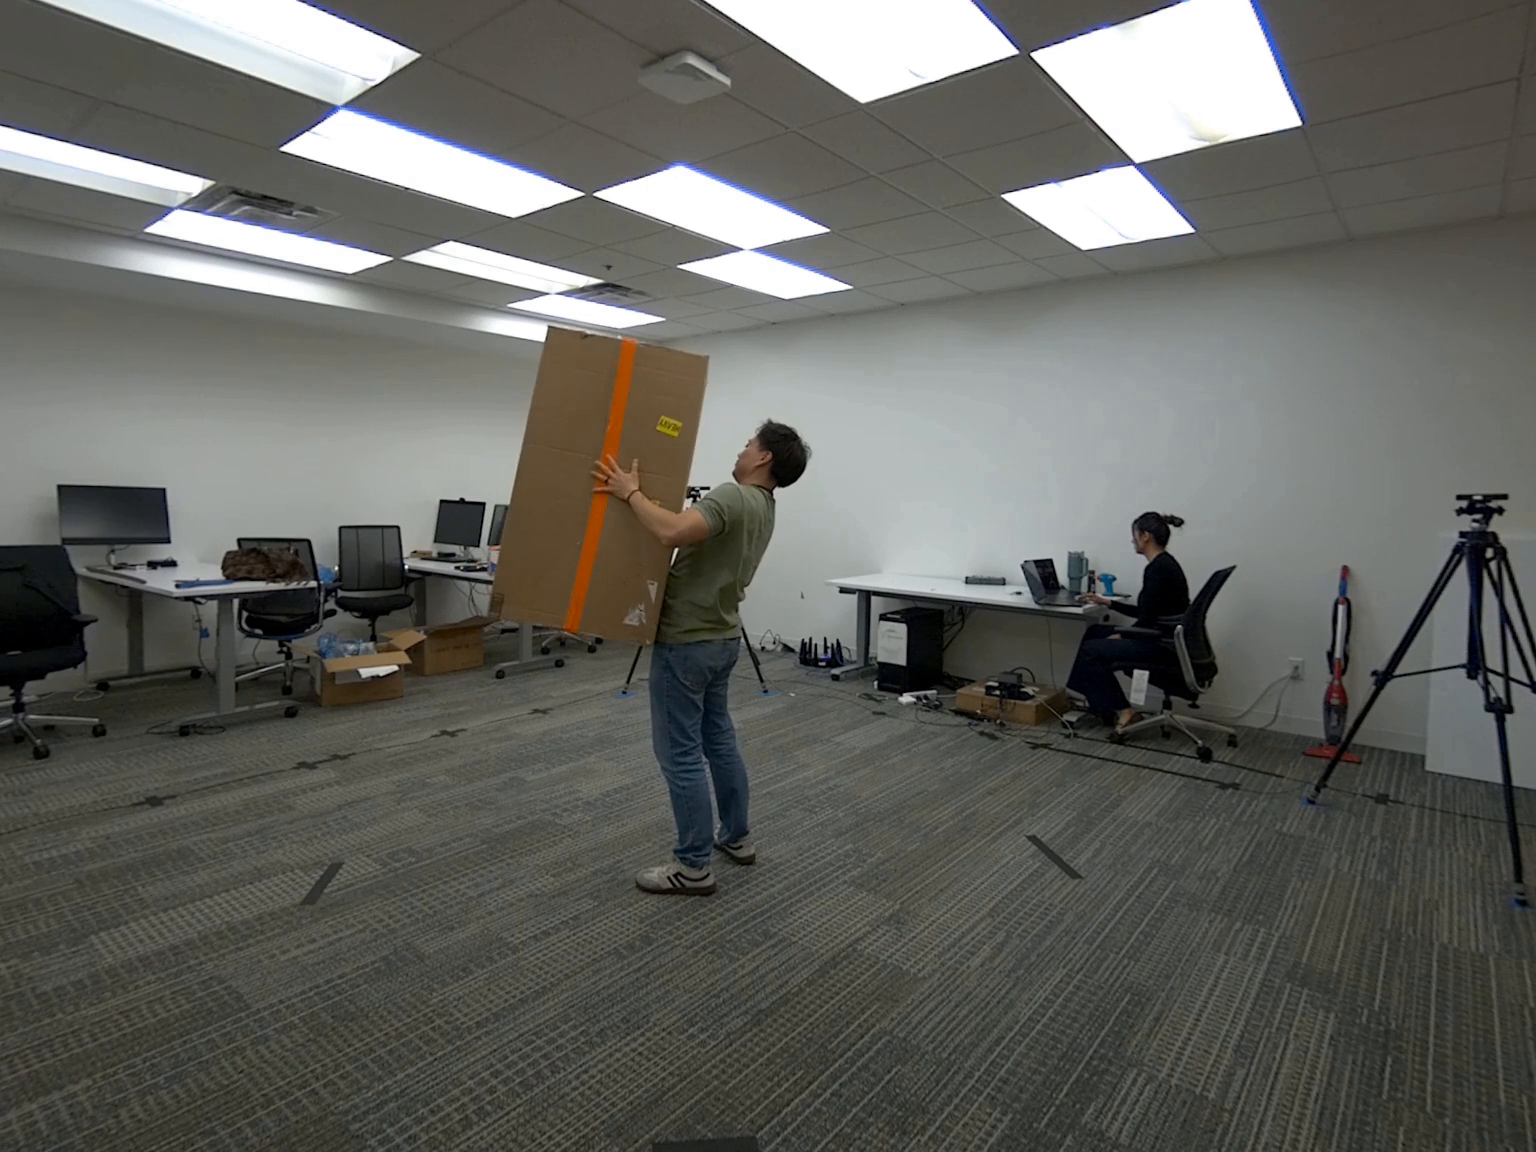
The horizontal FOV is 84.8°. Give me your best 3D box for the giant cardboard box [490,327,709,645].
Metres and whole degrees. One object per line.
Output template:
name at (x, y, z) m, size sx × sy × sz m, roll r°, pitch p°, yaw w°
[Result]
giant cardboard box at (-0.610, -0.321, 3.105) m, size 0.576 × 1.029 × 0.426 m, roll 12°, pitch -4°, yaw -4°
